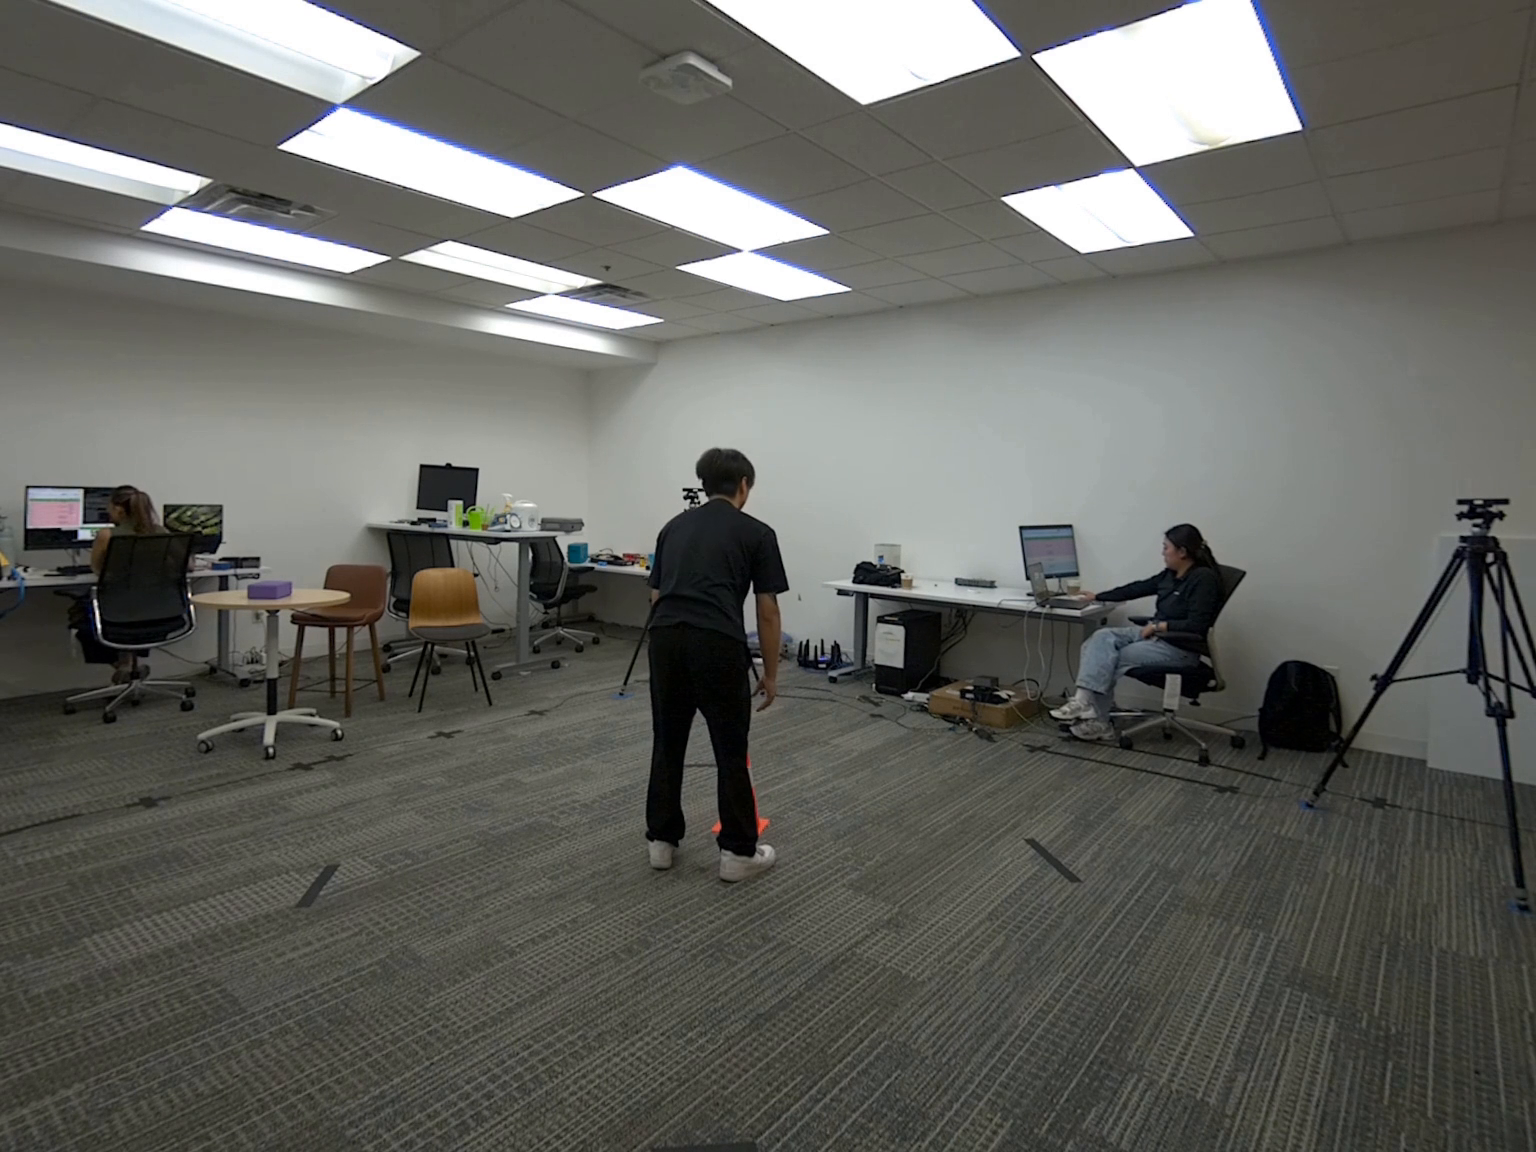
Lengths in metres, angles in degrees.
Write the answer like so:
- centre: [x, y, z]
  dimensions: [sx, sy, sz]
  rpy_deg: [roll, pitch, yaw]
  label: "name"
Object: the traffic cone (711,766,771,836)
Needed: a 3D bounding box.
- centre: [-0.120, 0.841, 3.516]
  dimensions: [0.207, 0.383, 0.201]
  rpy_deg: [1, 3, 19]
  label: "traffic cone"
